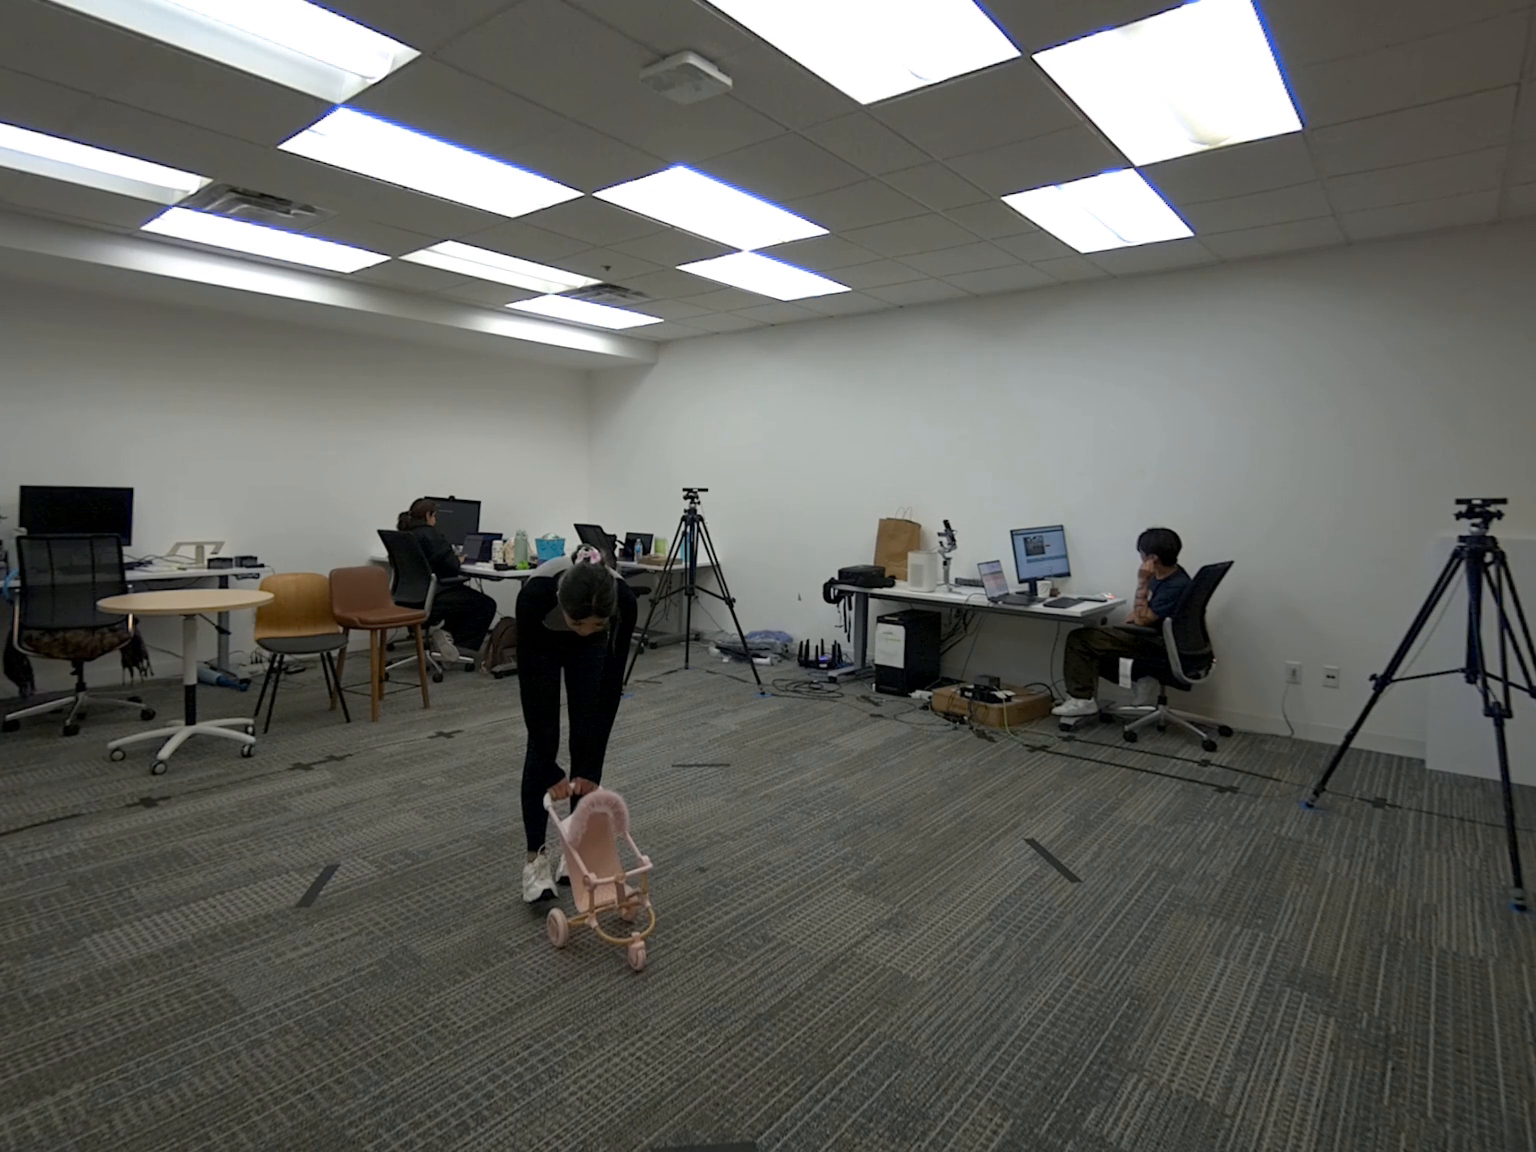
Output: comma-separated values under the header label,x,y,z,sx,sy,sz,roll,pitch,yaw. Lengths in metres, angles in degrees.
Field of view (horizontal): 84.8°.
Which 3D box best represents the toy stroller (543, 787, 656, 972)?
label,x,y,z,sx,sy,sz,roll,pitch,yaw
toy stroller,-0.511,0.891,2.593,0.273,0.542,0.347,-2,-13,-38
